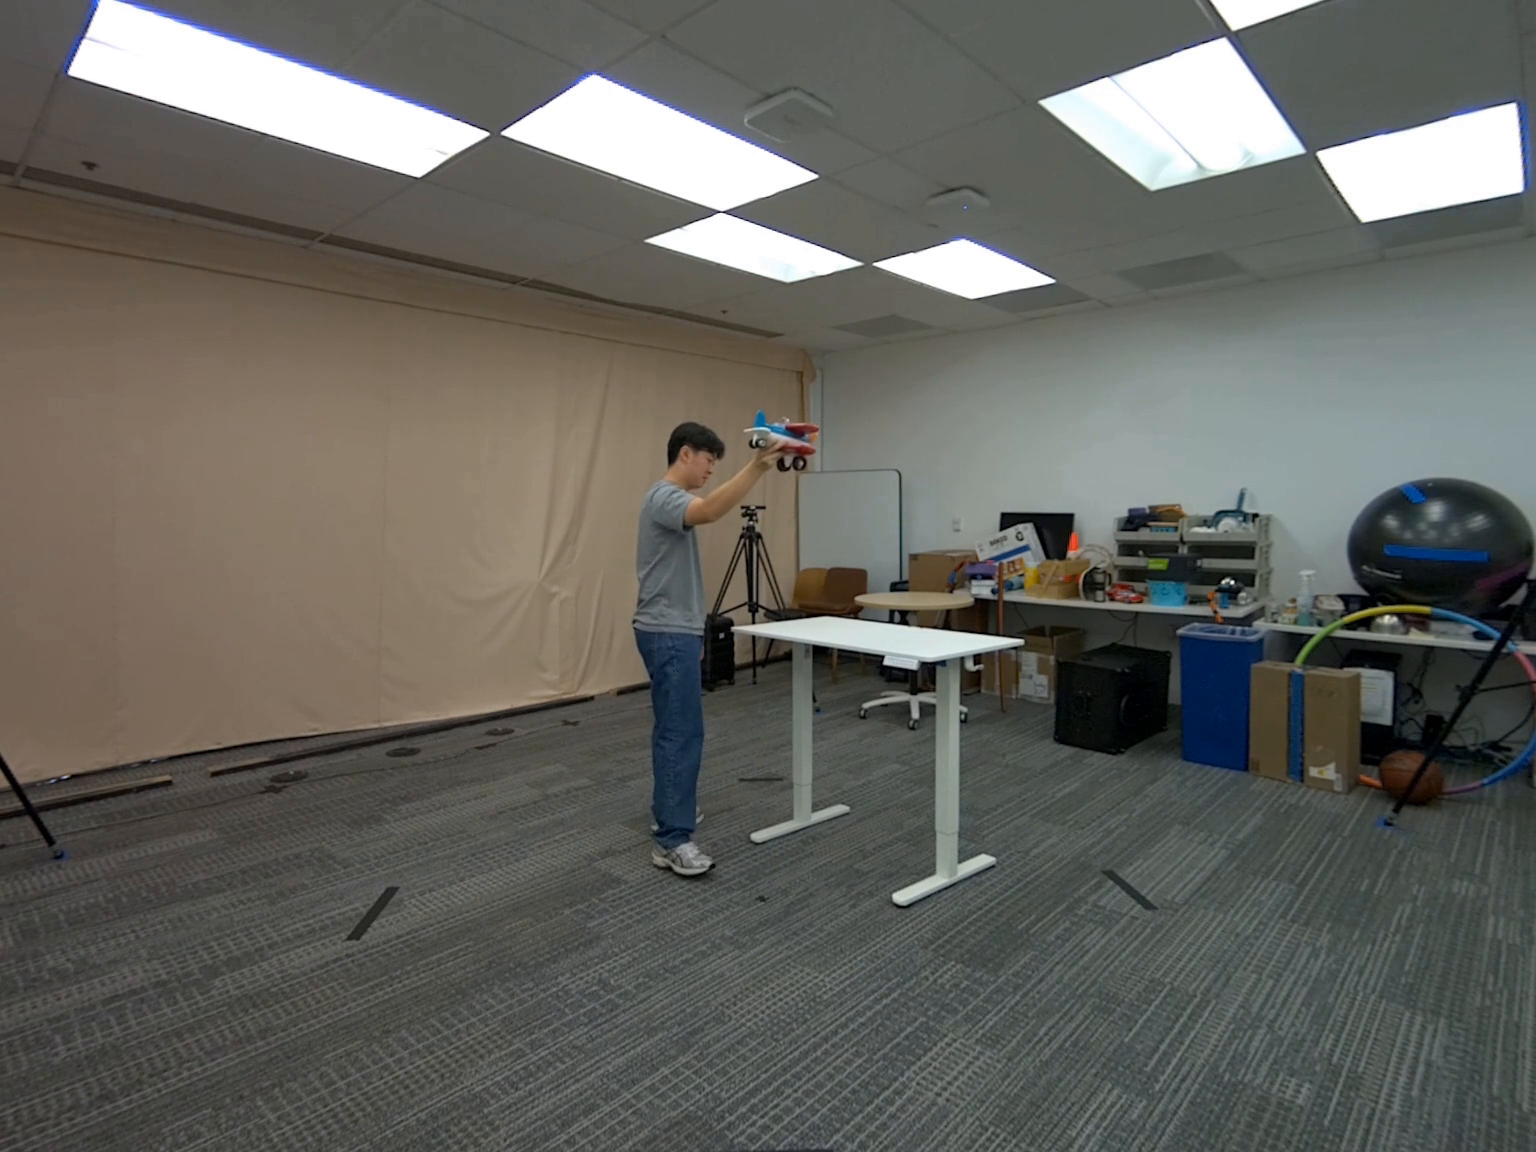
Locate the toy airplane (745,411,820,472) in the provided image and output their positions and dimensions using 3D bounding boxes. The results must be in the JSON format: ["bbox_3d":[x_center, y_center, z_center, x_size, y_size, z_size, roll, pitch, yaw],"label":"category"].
[{"bbox_3d":[0.067,-0.484,3.003,0.258,0.157,0.251,14,-14,24],"label":"toy airplane"}]
